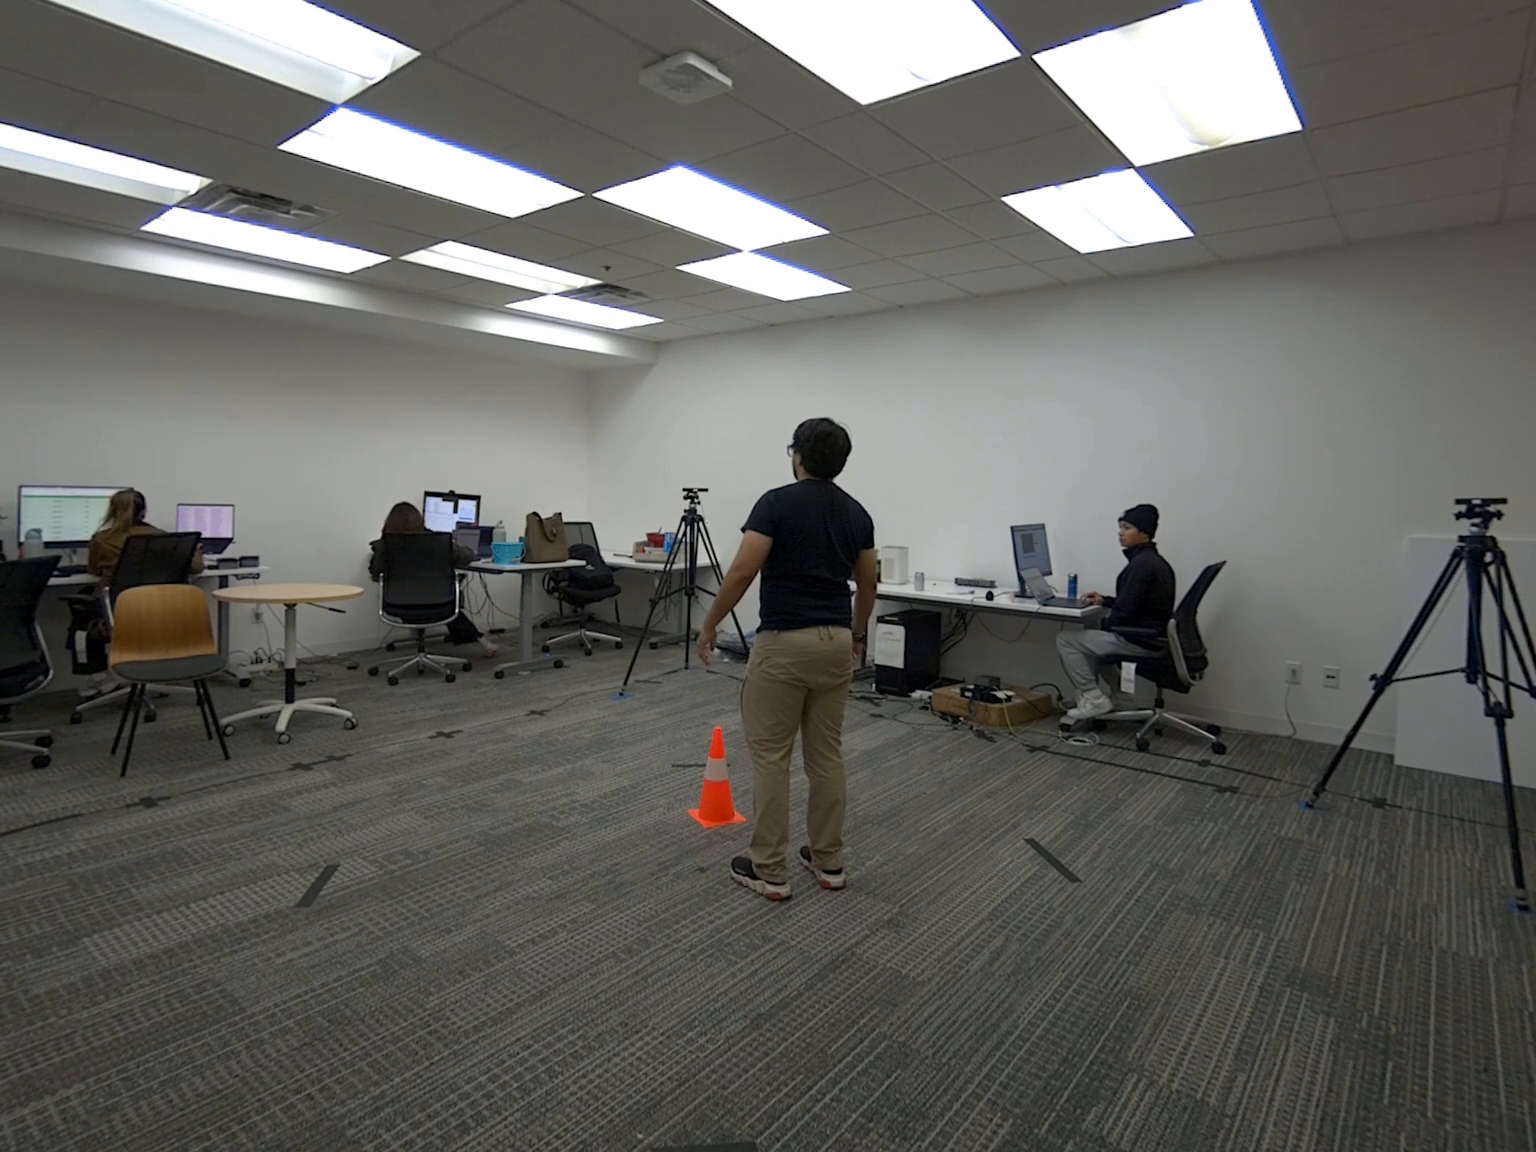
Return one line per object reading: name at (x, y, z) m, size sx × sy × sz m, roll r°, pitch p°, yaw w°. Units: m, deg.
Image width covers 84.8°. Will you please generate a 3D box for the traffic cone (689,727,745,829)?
traffic cone at (-0.229, 0.835, 3.627) m, size 0.198 × 0.383 × 0.210 m, roll 0°, pitch 3°, yaw -27°
